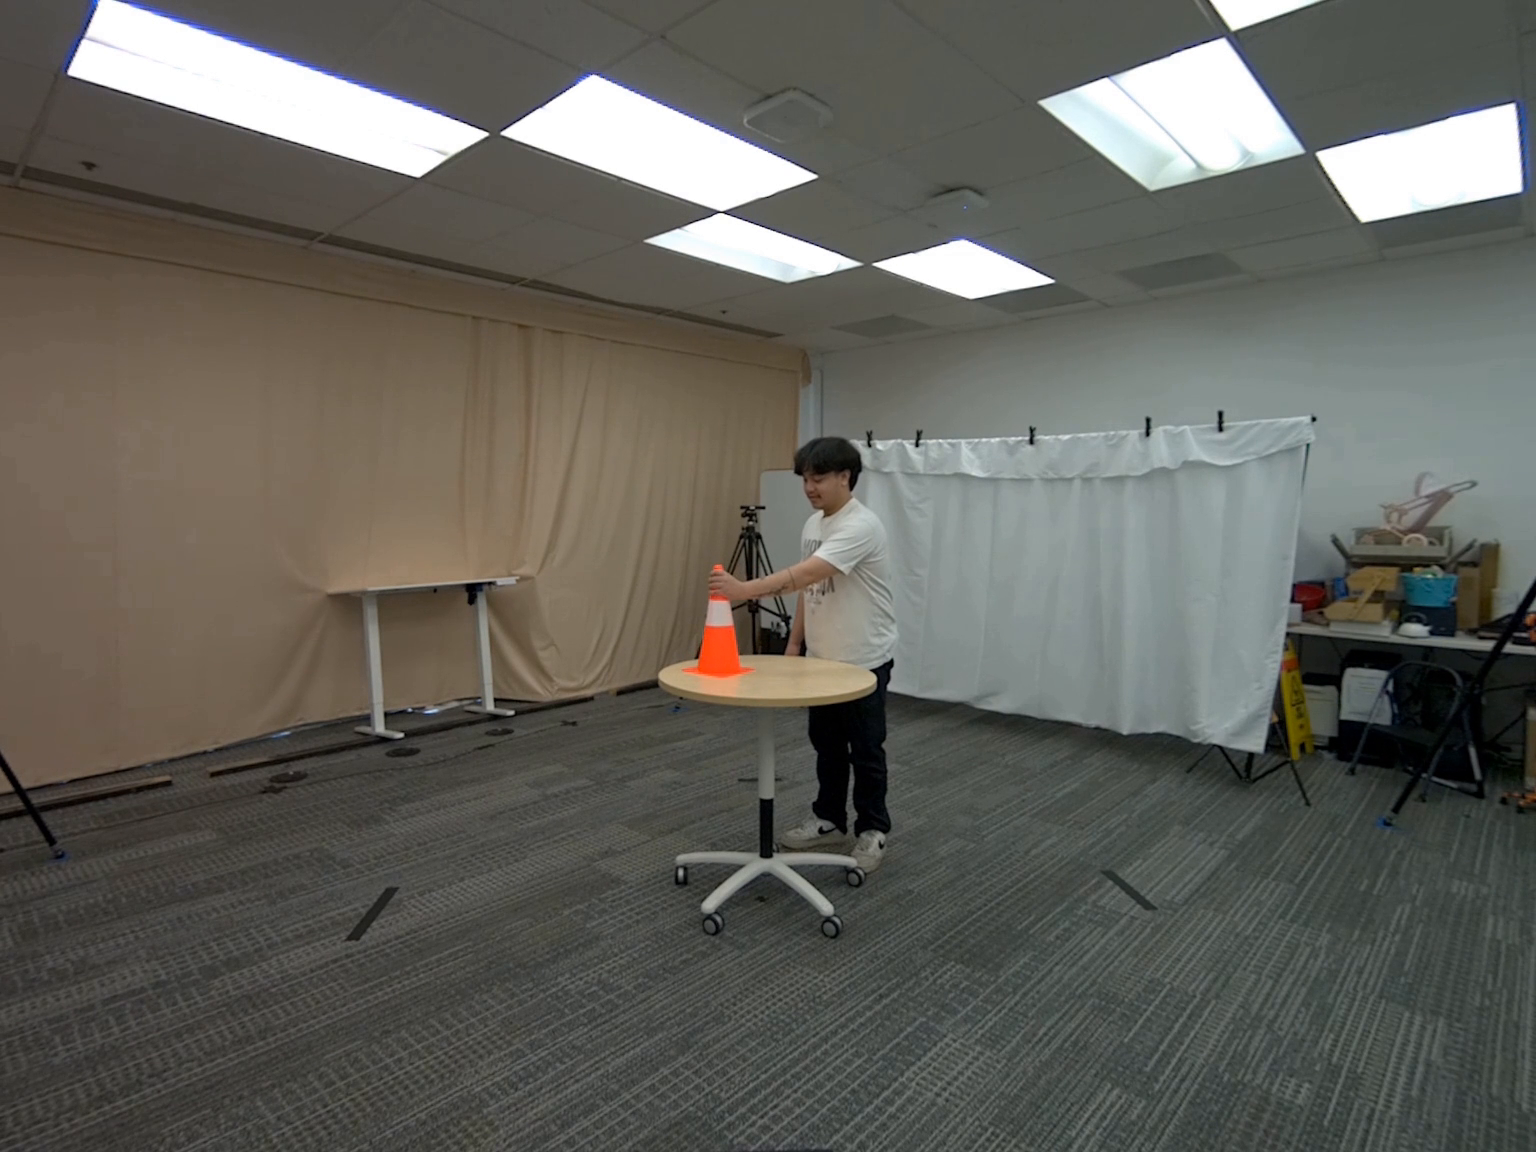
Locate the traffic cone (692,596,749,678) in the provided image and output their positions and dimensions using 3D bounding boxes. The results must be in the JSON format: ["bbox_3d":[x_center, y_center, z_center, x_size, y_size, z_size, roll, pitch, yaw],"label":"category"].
[{"bbox_3d":[-0.182,0.151,3.036,0.211,0.383,0.197,0,2,32],"label":"traffic cone"}]
